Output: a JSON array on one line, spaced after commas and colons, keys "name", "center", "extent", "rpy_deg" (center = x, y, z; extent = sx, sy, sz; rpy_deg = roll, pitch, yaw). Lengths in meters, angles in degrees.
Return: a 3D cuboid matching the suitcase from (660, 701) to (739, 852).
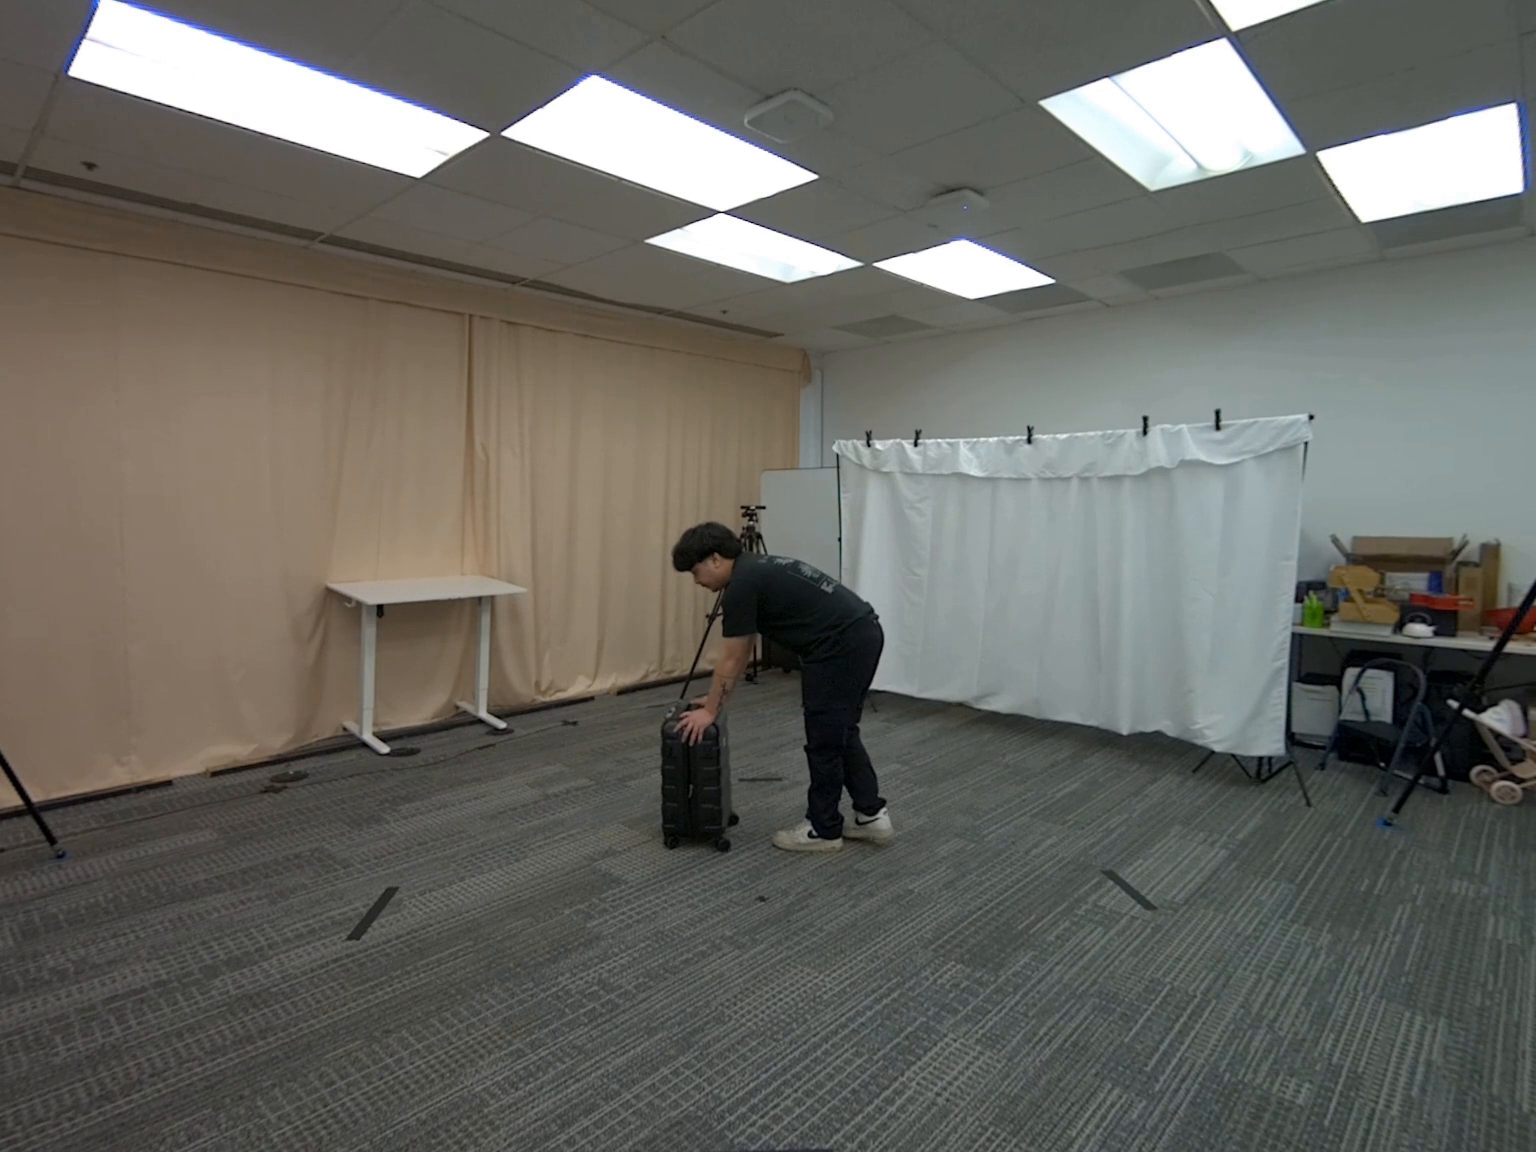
[{"name": "suitcase", "center": [-0.297, 0.826, 3.551], "extent": [0.250, 0.548, 0.373], "rpy_deg": [-1, 3, 7]}]
